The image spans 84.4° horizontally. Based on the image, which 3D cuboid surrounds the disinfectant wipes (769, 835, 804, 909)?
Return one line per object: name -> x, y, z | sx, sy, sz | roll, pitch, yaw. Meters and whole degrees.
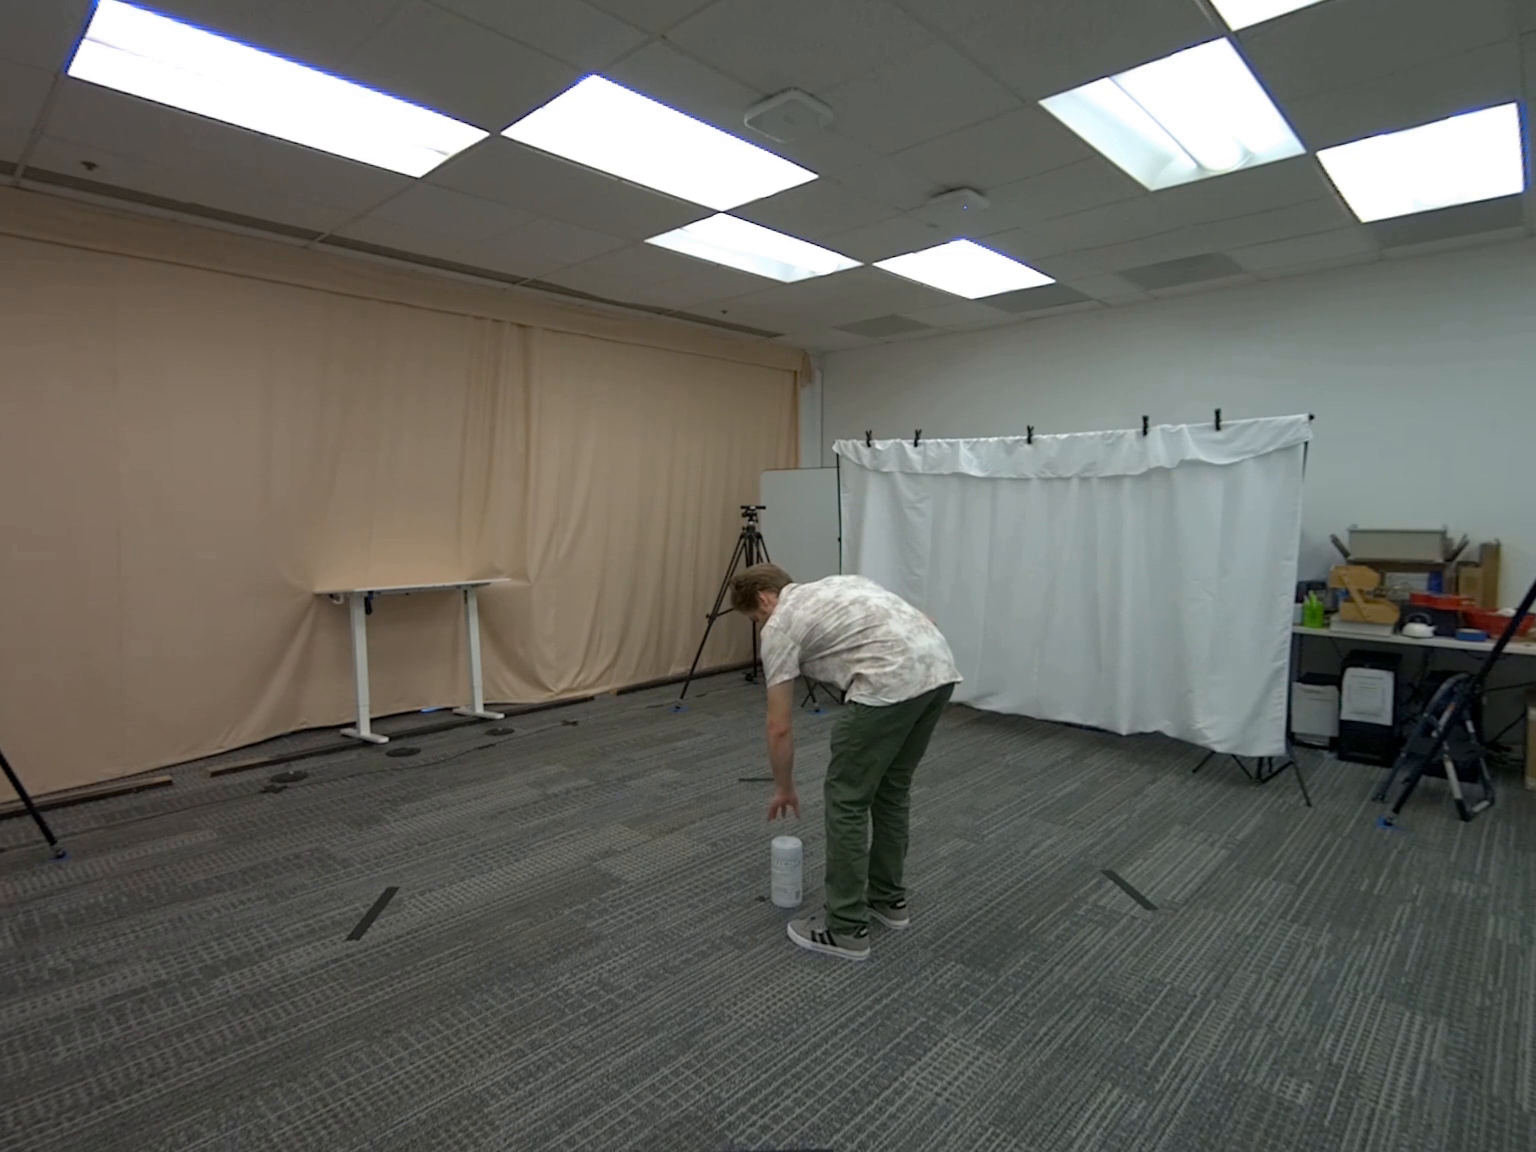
disinfectant wipes -> 0.071, 1.041, 2.955 | 0.118, 0.217, 0.118 | -1, 4, -2
